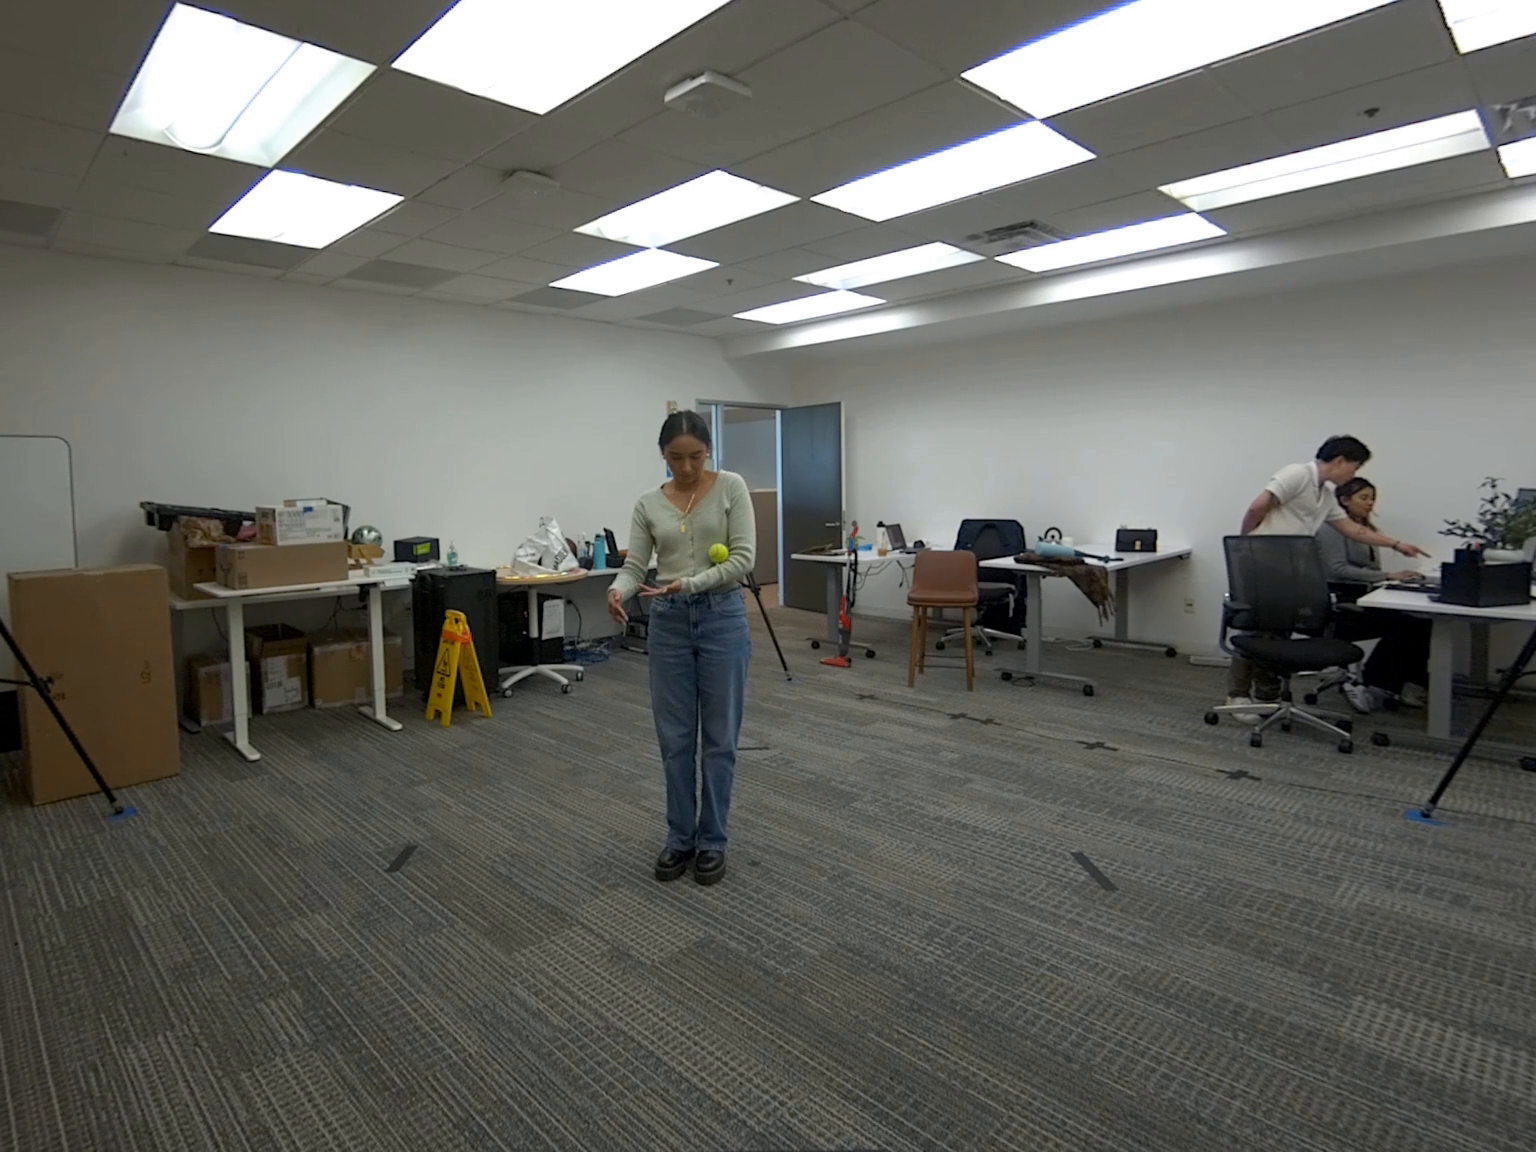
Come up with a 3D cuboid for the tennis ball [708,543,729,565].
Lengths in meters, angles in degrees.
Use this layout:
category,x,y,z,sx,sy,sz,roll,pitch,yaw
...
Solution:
category,x,y,z,sx,sy,sz,roll,pitch,yaw
tennis ball,-0.182,-0.077,2.915,0.066,0.066,0.067,-1,5,-2
